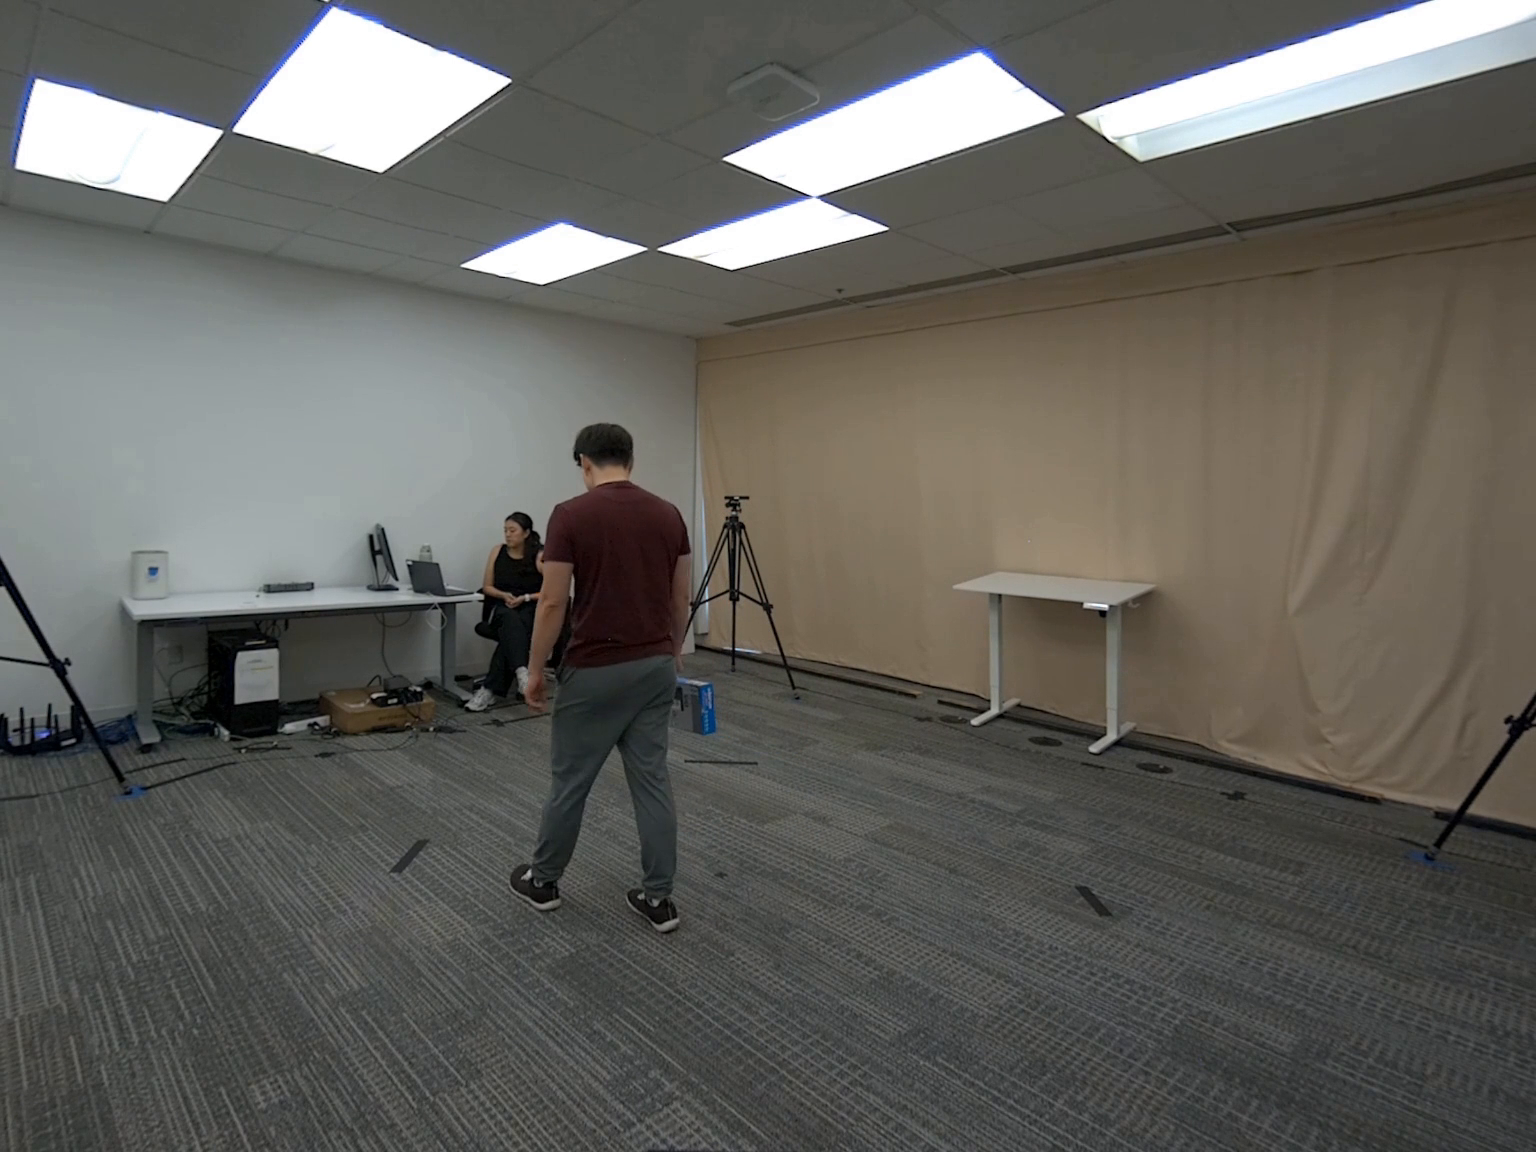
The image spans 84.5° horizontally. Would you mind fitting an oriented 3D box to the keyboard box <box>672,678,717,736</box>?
[{"bbox_3d":[-0.361,0.460,3.064,0.058,0.175,0.447,-5,4,-40],"label":"keyboard box"}]
